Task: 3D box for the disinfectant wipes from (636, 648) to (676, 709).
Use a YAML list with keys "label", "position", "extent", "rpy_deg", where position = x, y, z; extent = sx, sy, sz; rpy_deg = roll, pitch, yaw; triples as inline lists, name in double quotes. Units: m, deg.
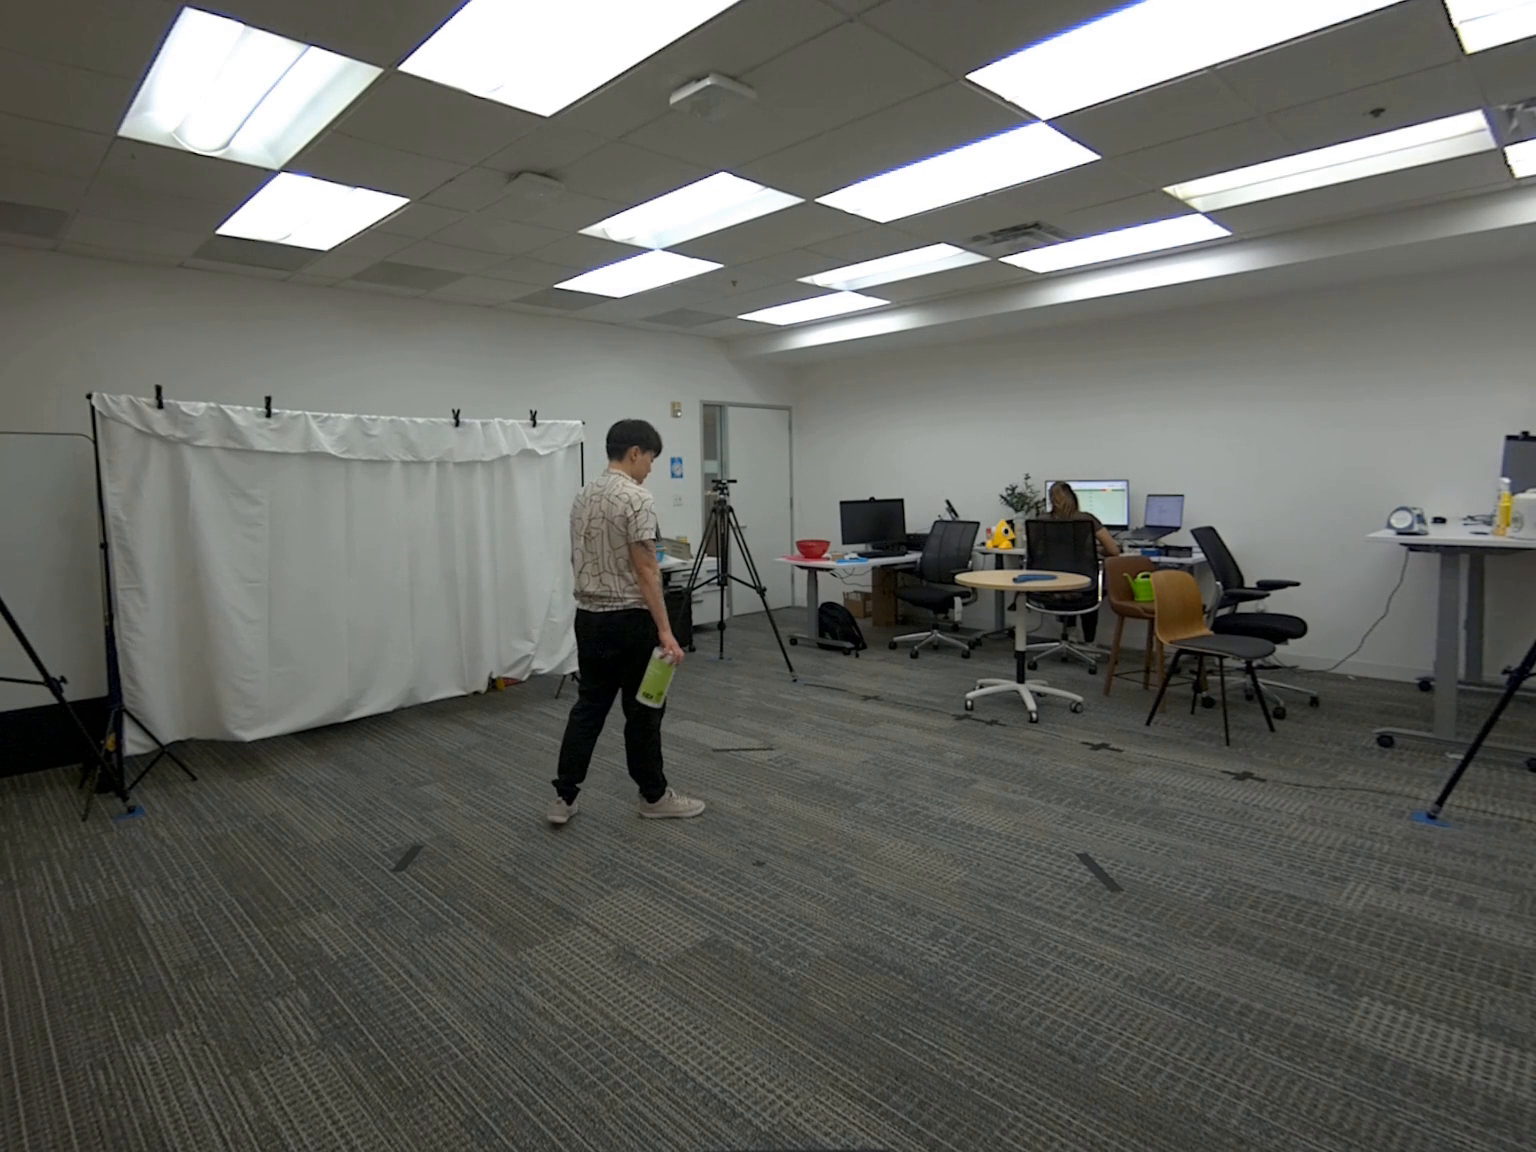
- label: "disinfectant wipes"
  position: [-0.431, 0.399, 3.363]
  extent: [0.117, 0.217, 0.118]
  rpy_deg: [17, 6, -4]
